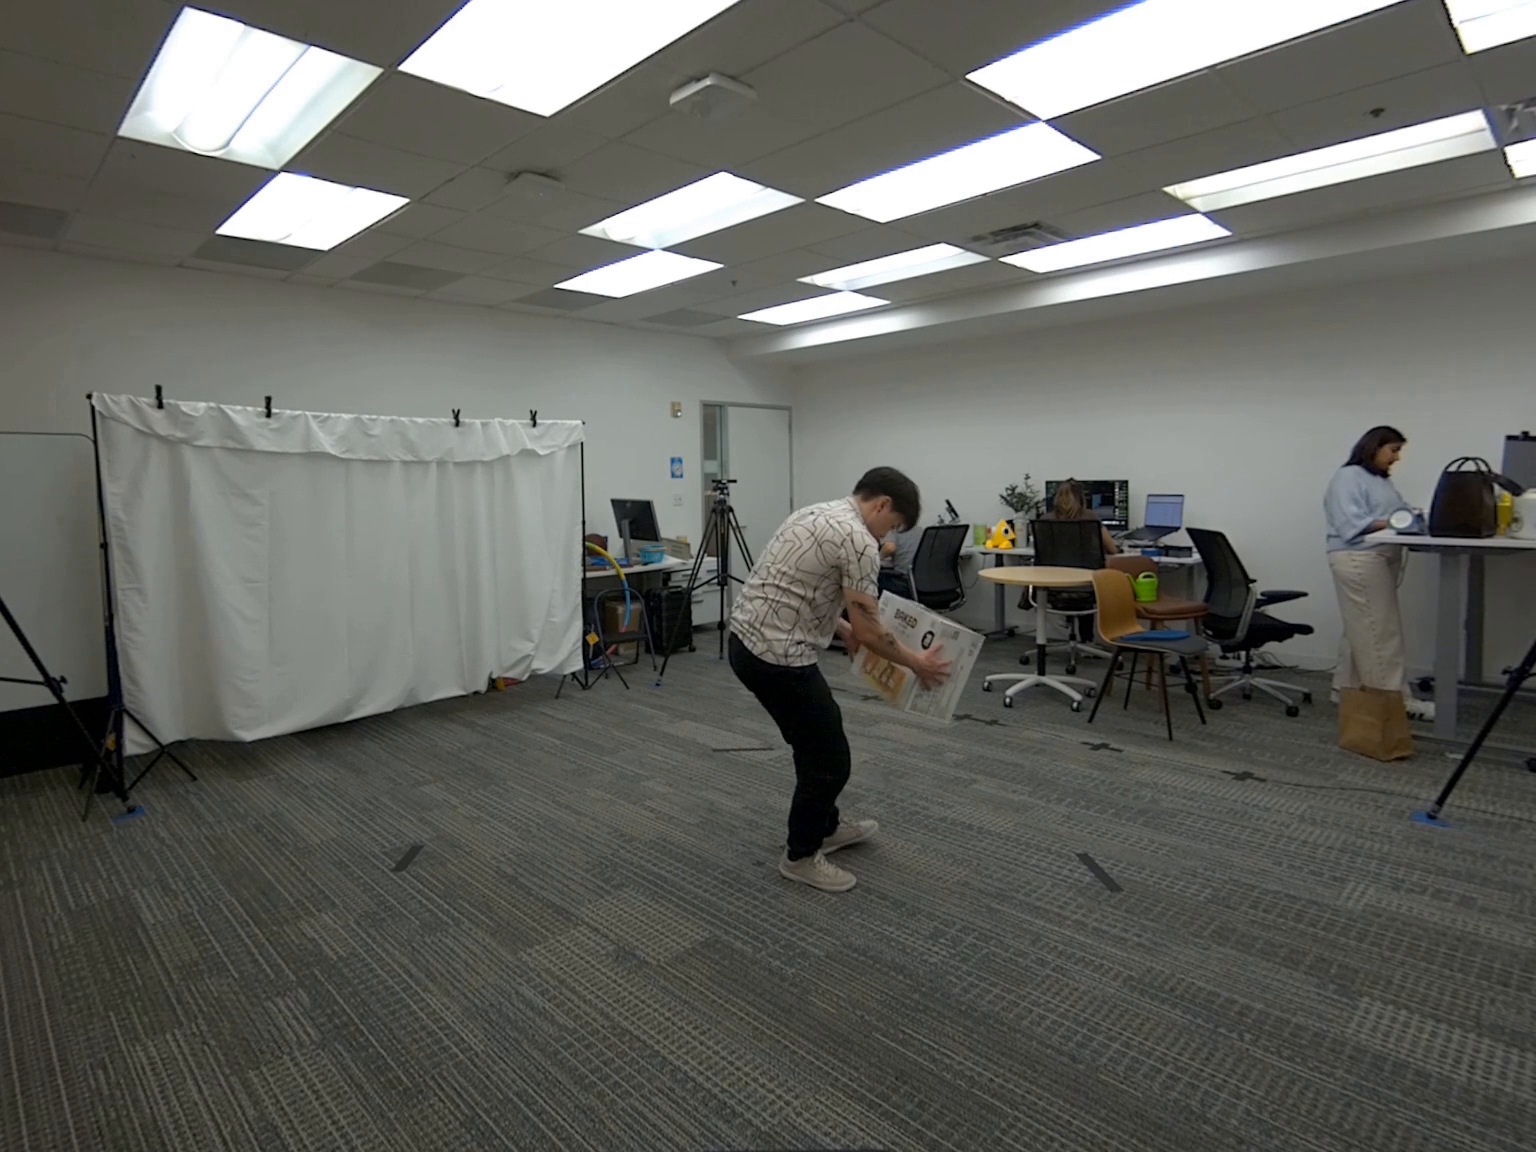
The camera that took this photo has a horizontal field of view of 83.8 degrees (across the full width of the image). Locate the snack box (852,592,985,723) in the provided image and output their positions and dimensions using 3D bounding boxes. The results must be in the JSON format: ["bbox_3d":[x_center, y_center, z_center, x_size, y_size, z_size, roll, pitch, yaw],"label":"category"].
[{"bbox_3d":[0.540,0.290,3.149,0.200,0.339,0.417,19,5,-26],"label":"snack box"}]
